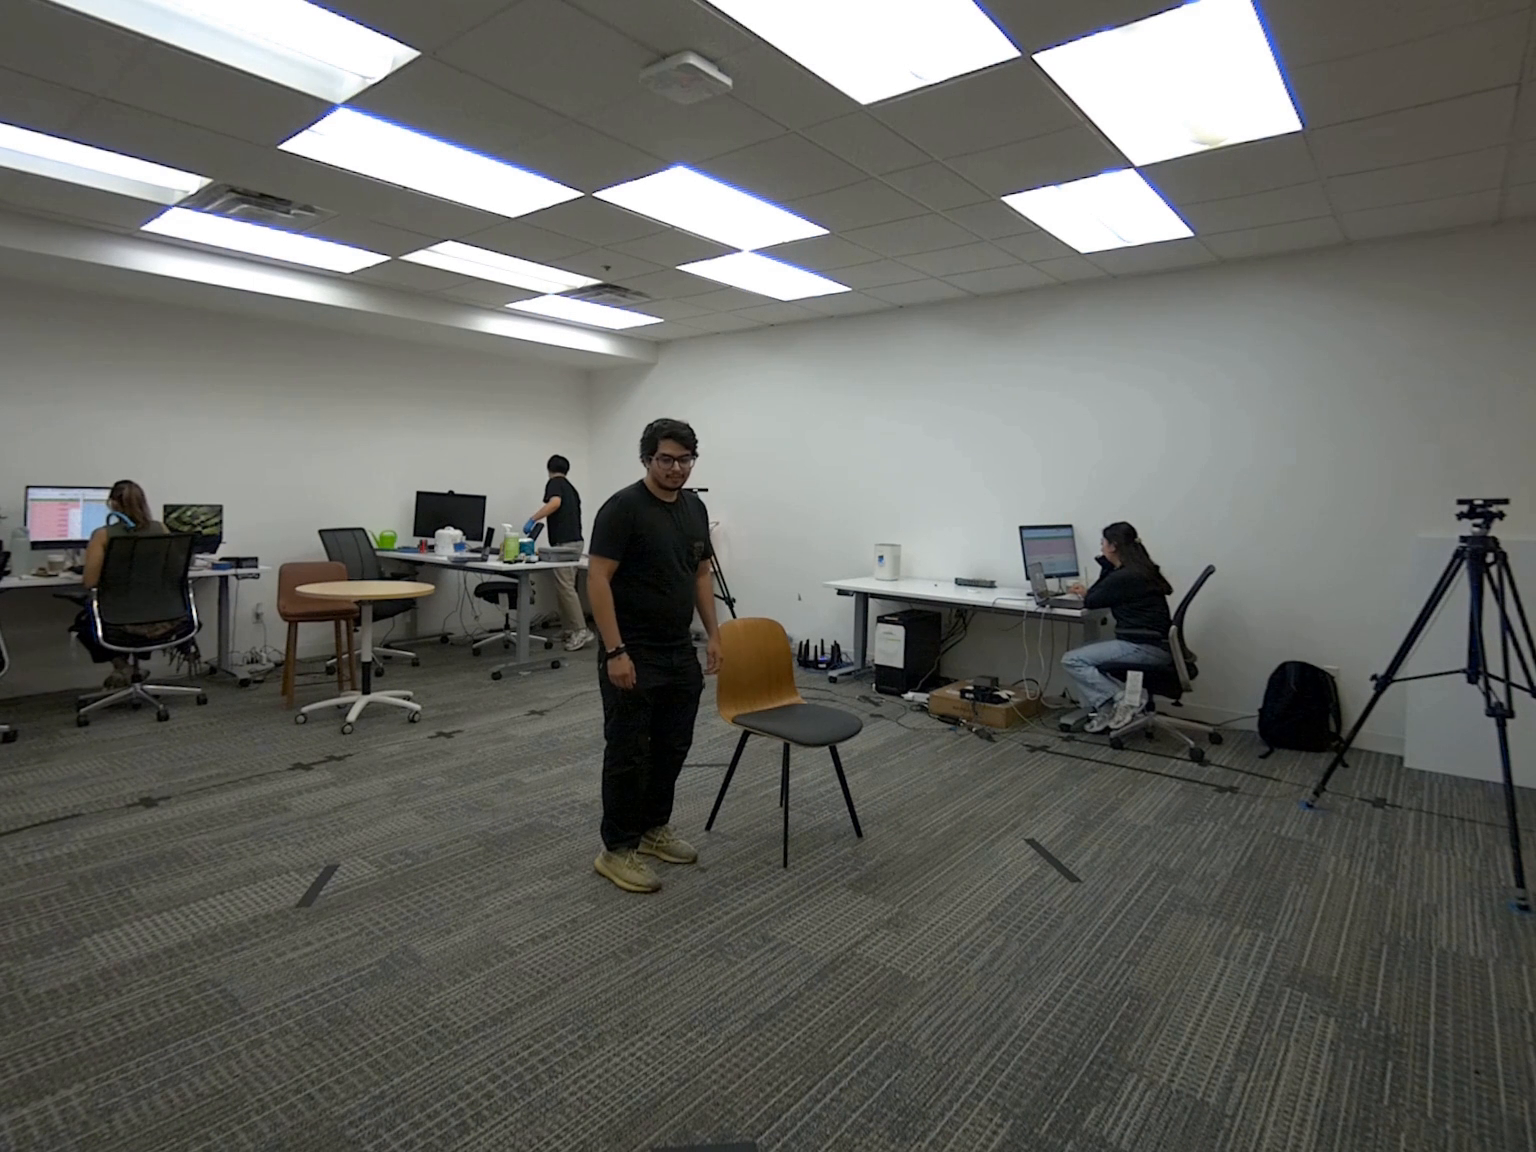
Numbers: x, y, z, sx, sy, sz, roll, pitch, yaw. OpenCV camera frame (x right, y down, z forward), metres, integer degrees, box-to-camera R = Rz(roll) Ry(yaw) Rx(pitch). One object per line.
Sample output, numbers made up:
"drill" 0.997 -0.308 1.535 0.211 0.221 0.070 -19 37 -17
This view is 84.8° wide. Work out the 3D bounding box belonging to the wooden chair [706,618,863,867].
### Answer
"wooden chair" 0.072 0.620 3.416 0.463 0.877 0.539 -2 0 -44
